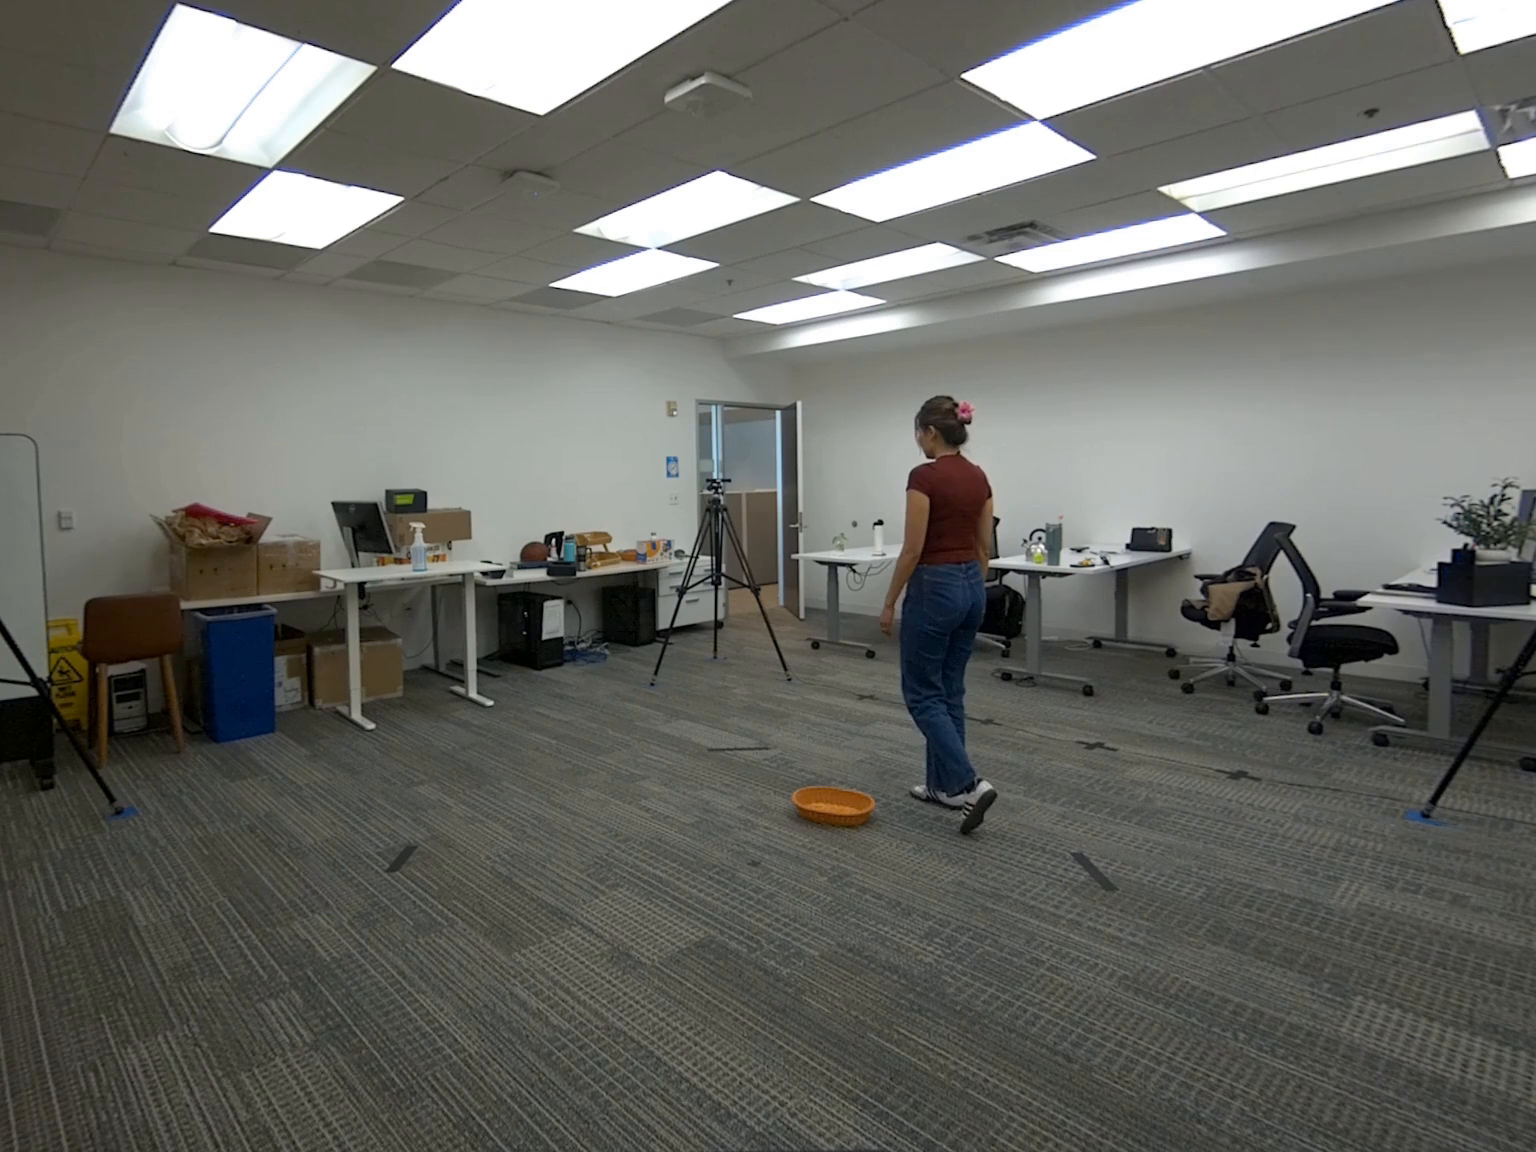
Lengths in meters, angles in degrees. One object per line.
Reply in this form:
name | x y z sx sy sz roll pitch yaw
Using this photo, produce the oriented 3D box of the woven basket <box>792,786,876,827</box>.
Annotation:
woven basket | 0.266 0.953 3.524 0.359 0.073 0.248 3 9 27
